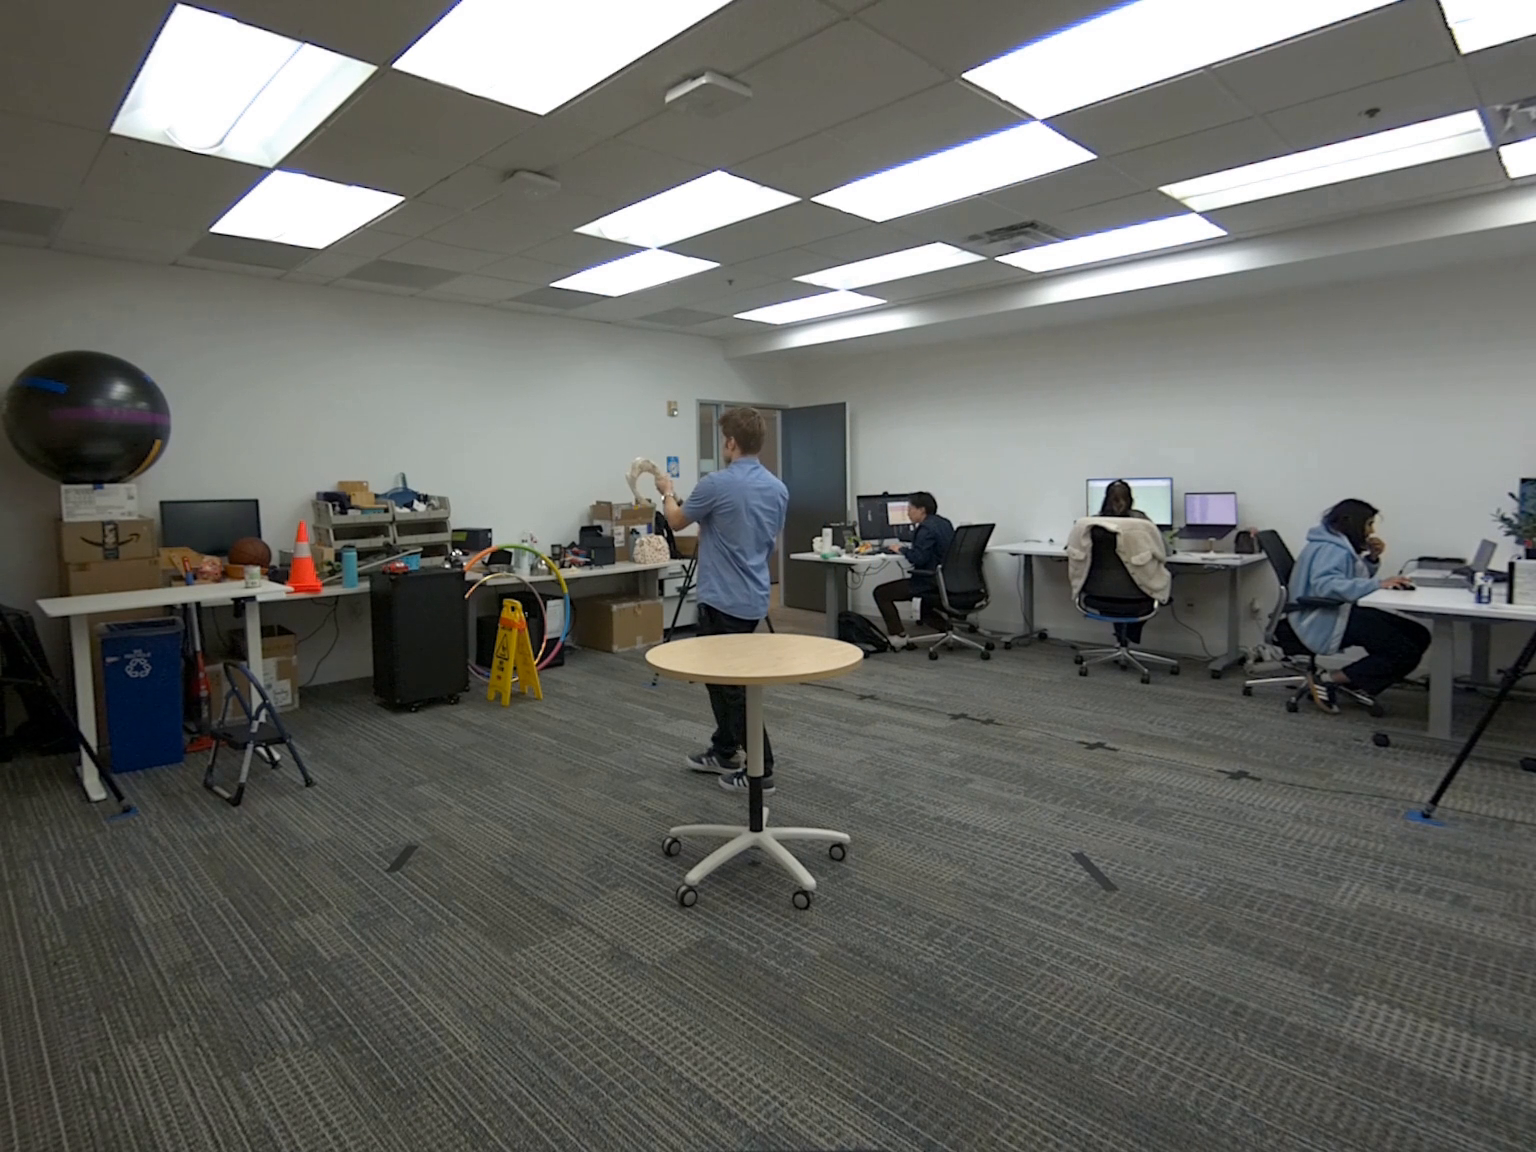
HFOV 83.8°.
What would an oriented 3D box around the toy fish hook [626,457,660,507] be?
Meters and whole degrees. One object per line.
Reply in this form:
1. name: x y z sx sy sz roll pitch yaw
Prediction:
1. toy fish hook: -0.485 -0.365 4.108 0.049 0.227 0.490 -12 -47 46
